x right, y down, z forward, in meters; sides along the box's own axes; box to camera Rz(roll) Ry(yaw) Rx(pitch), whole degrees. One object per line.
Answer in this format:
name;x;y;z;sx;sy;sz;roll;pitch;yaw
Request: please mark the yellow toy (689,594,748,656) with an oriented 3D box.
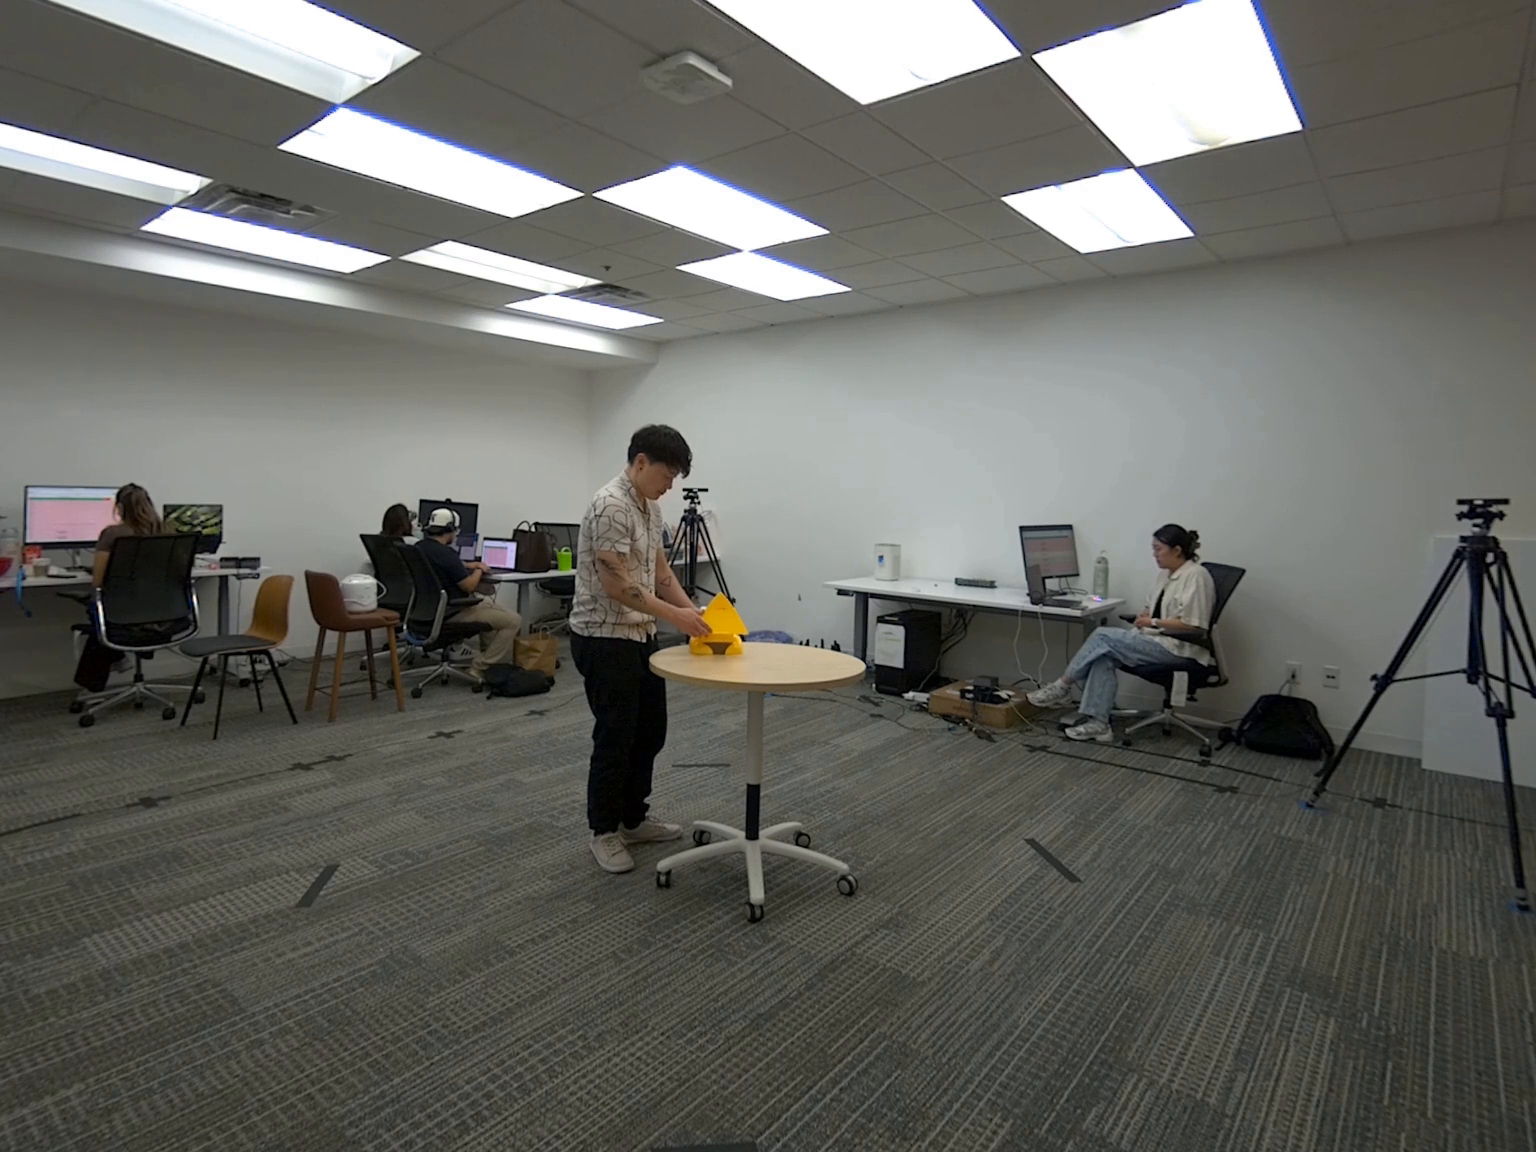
yellow toy;-0.200;0.167;3.179;0.202;0.230;0.196;1;4;-11
